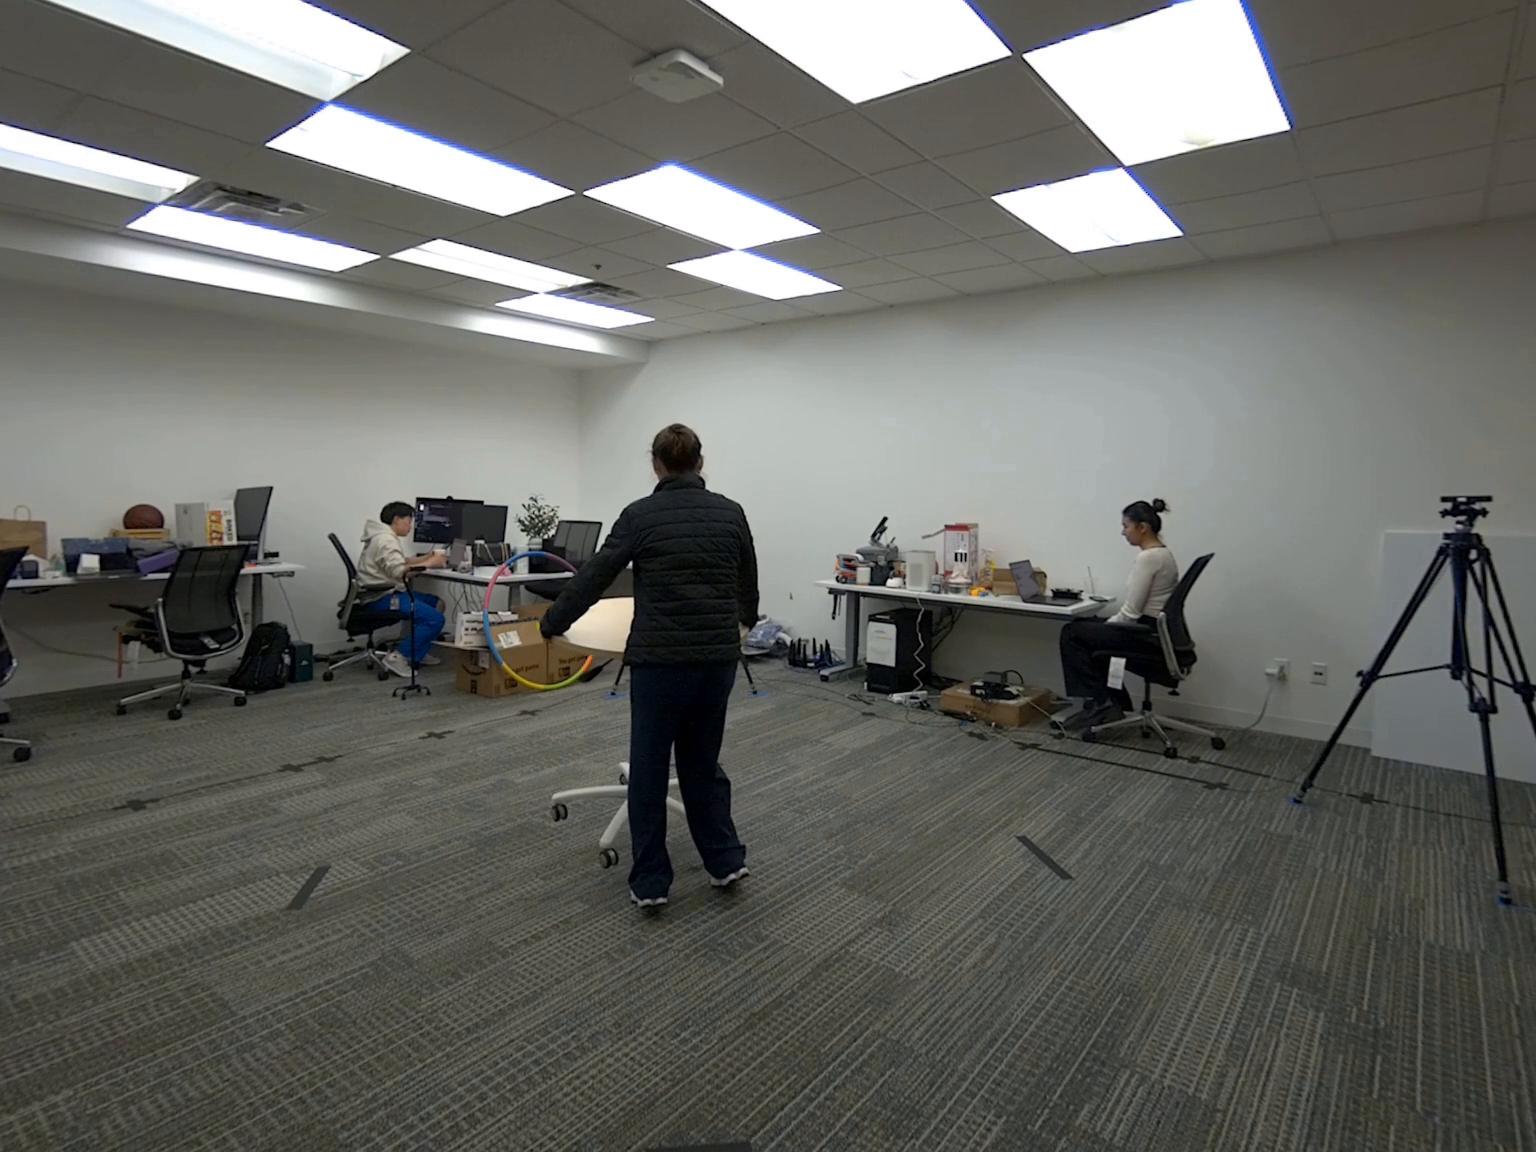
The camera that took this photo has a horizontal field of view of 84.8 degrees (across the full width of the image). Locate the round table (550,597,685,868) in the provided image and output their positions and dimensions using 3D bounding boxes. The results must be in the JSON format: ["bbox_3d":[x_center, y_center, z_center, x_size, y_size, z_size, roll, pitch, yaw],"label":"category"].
[{"bbox_3d":[-0.431,0.564,3.270,0.784,0.779,0.794,2,11,-2],"label":"round table"}]
